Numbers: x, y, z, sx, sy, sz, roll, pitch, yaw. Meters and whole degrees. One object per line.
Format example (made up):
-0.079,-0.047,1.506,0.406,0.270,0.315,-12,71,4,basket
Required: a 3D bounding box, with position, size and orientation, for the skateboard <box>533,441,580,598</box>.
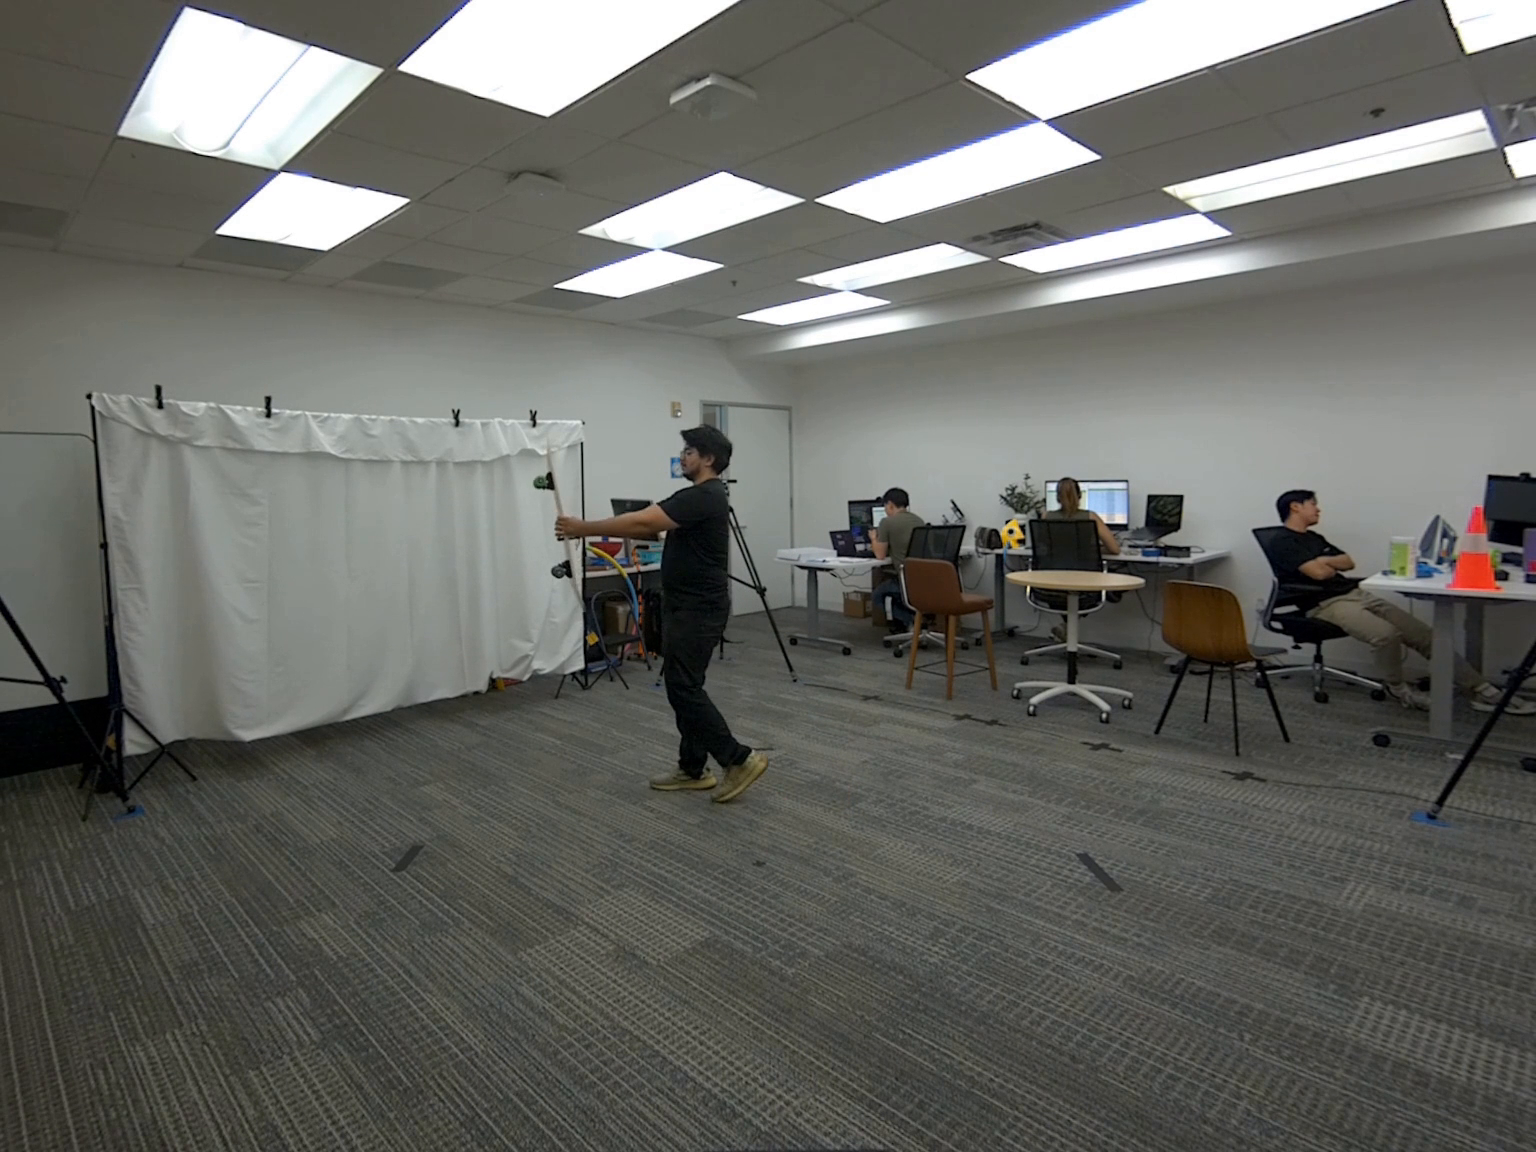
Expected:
-0.916,-0.216,3.726,0.109,0.783,0.196,-12,2,-17,skateboard
